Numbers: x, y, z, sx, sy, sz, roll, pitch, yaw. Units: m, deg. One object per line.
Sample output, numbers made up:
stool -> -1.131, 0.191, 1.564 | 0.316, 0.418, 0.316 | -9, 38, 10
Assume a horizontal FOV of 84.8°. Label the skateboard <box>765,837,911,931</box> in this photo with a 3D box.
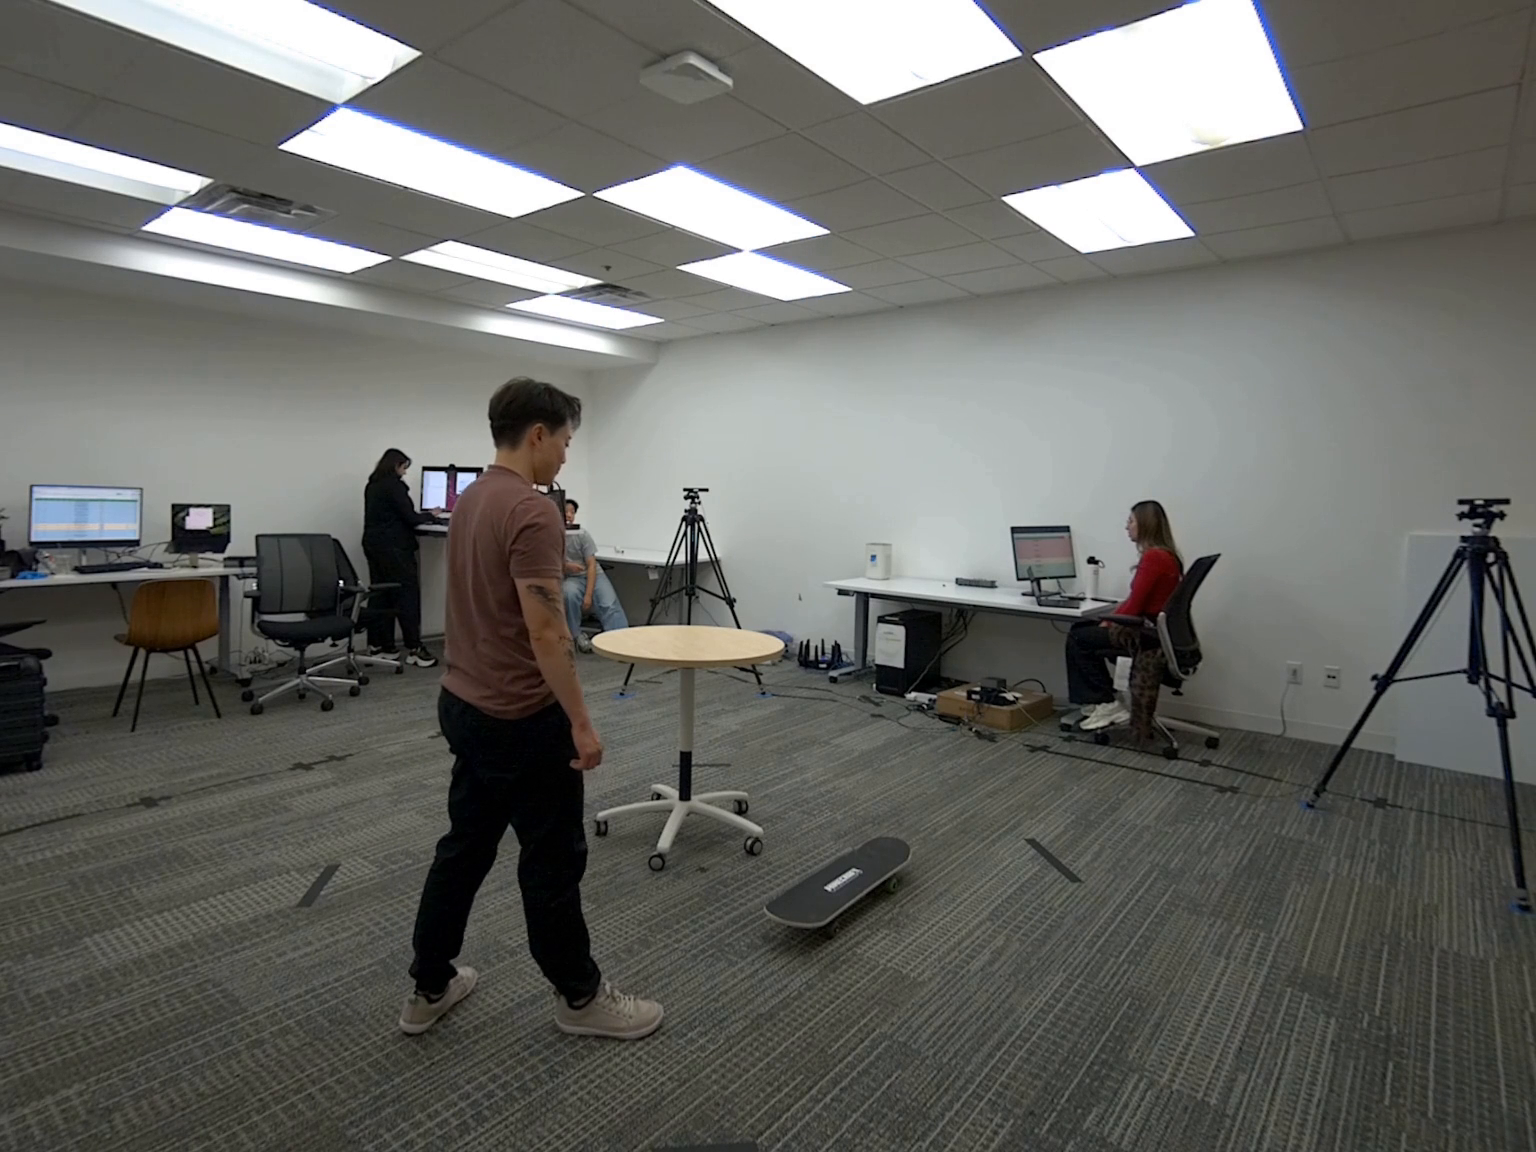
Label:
skateboard -> 0.251, 1.049, 2.856 | 0.200, 0.110, 0.763 | 6, 7, 36
